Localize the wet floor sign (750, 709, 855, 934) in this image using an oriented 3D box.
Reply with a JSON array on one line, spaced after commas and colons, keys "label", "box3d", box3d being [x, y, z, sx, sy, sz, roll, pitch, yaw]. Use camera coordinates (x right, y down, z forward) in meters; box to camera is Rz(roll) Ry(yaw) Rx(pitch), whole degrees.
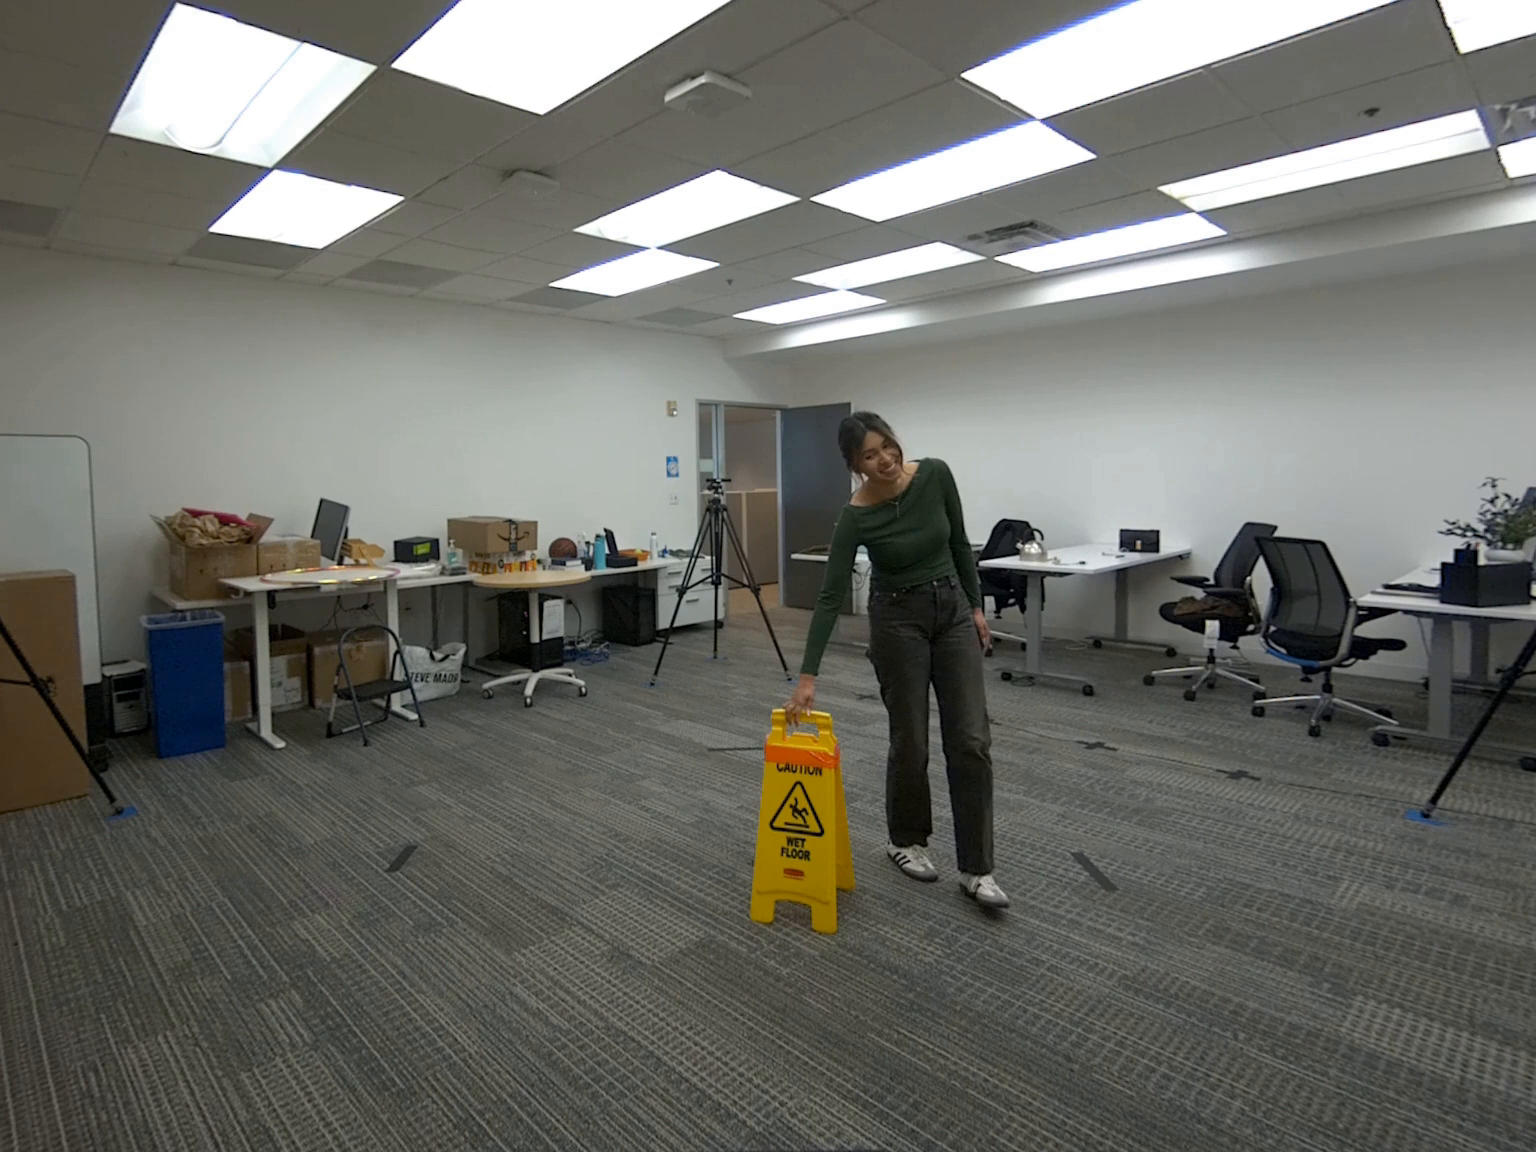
[{"label": "wet floor sign", "box3d": [0.123, 0.754, 2.781, 0.287, 0.644, 0.285, 1, 4, 19]}]
